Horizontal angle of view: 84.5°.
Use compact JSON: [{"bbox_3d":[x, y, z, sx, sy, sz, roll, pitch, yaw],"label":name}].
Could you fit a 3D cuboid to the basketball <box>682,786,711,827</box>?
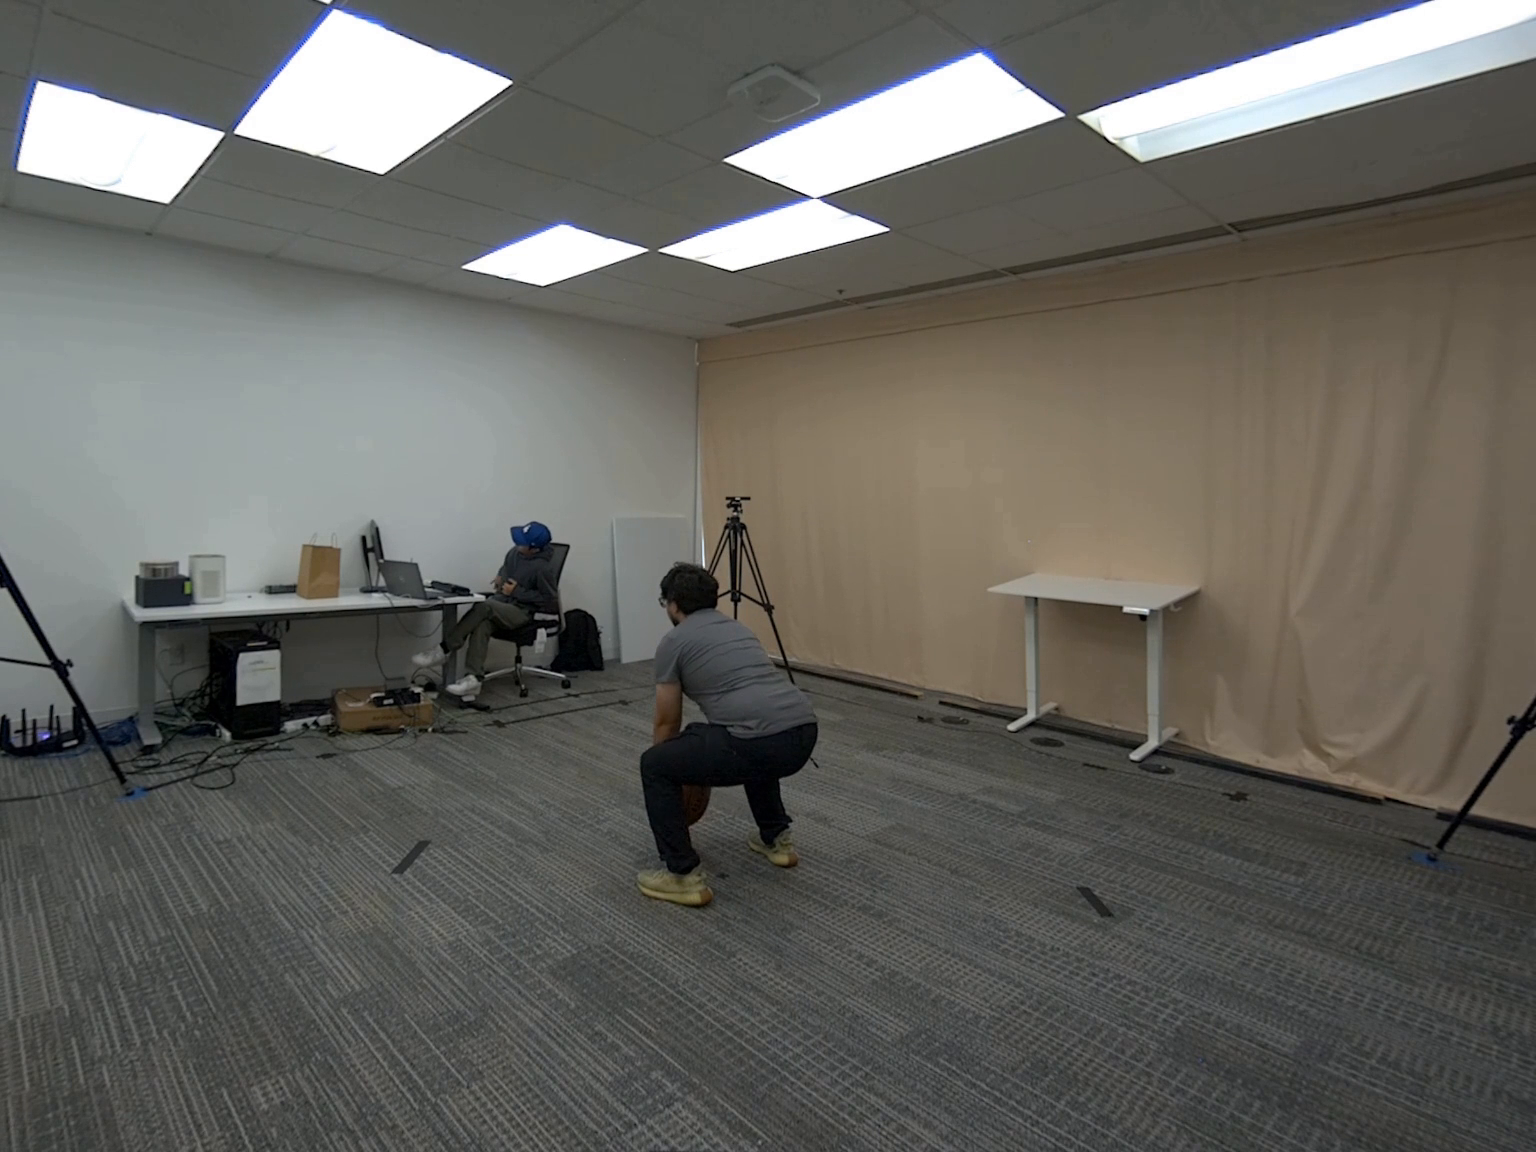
[{"bbox_3d":[-0.351,0.862,3.311,0.236,0.235,0.237,1,4,-1],"label":"basketball"}]
